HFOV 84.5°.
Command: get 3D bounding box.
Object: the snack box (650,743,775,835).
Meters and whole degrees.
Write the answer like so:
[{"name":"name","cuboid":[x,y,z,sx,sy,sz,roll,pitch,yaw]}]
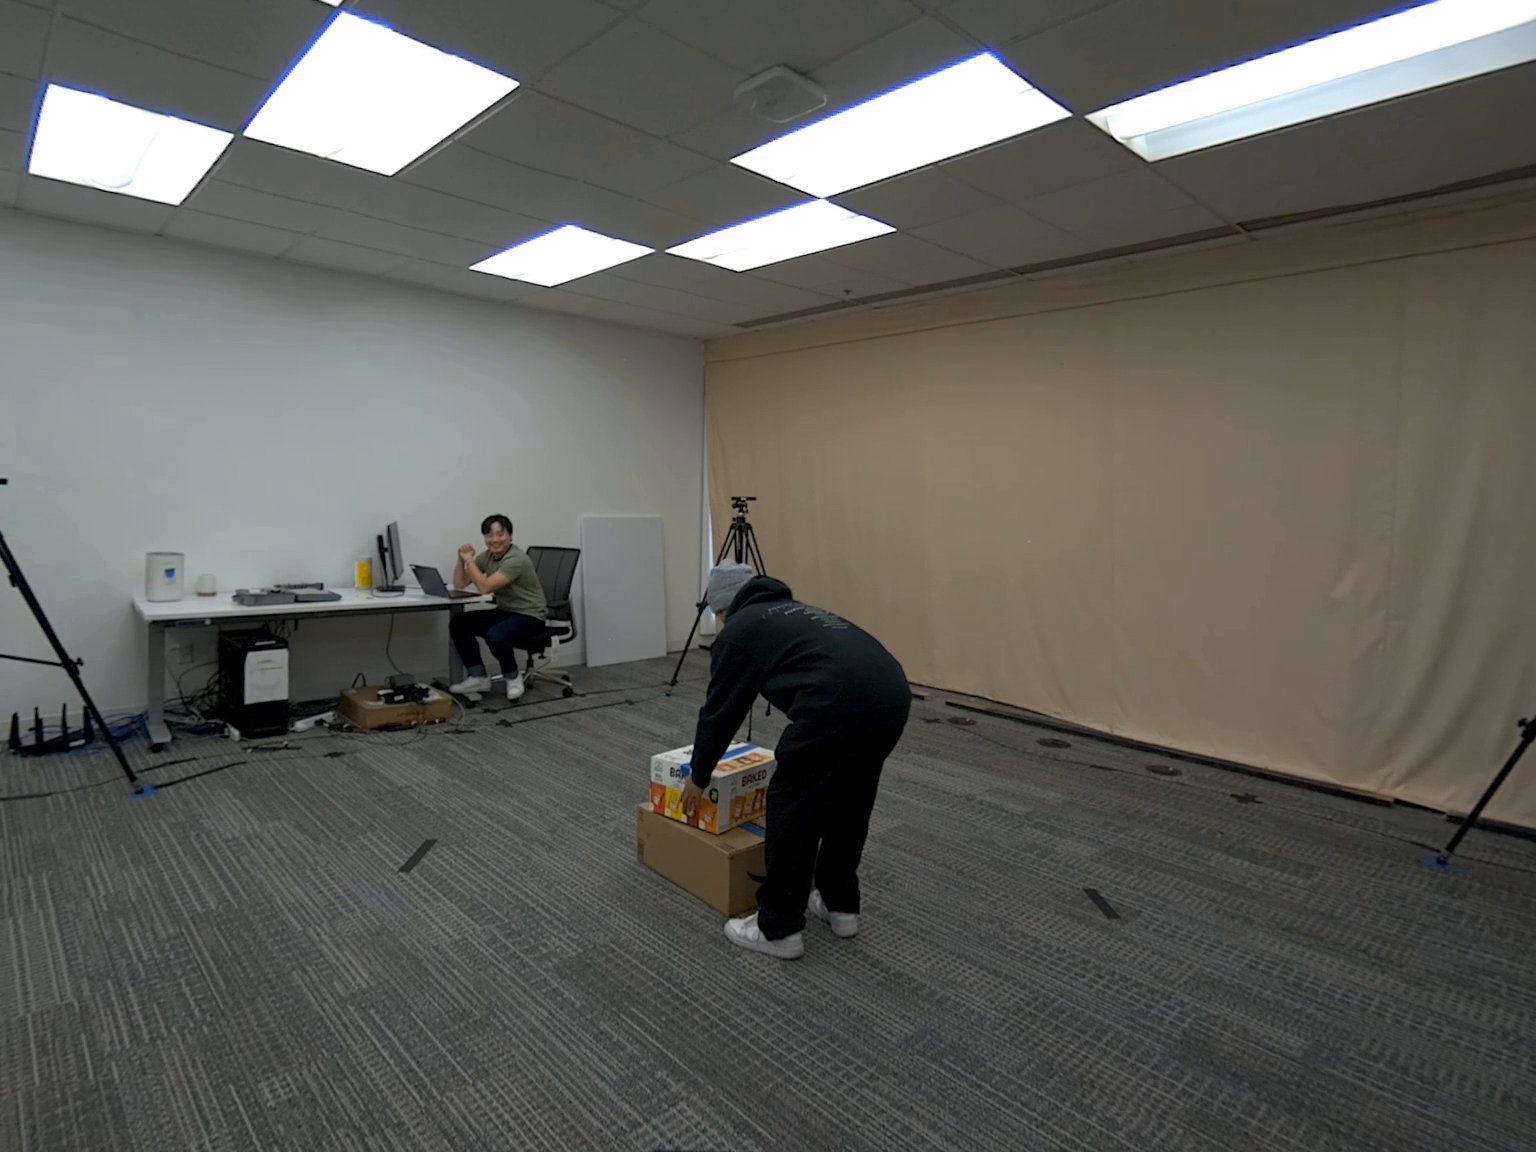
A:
[{"name":"snack box","cuboid":[-0.191,0.779,3.178,0.349,0.205,0.396,6,5,39]}]
